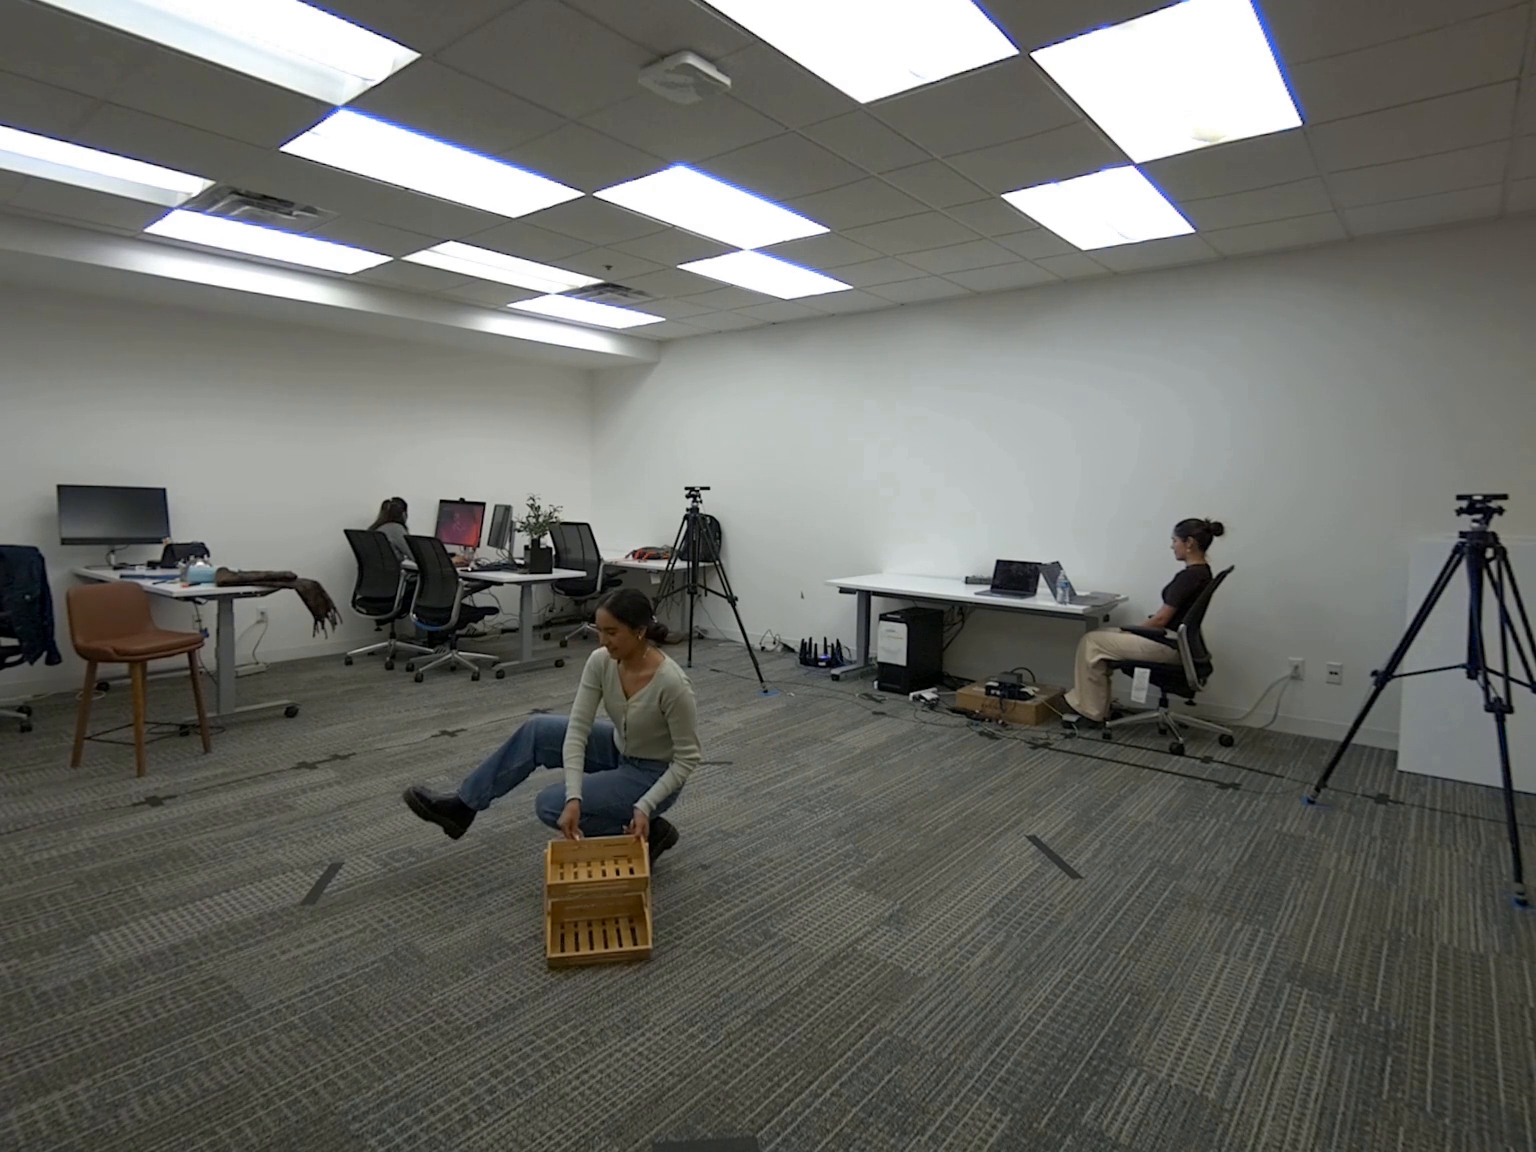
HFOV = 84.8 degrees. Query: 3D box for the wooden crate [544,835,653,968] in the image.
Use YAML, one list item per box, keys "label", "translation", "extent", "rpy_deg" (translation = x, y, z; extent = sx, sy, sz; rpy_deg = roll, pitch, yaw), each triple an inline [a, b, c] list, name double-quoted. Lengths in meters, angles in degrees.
- label: "wooden crate"
  translation: [-0.530, 0.979, 2.585]
  extent: [0.320, 0.272, 0.307]
  rpy_deg: [0, 4, -13]
